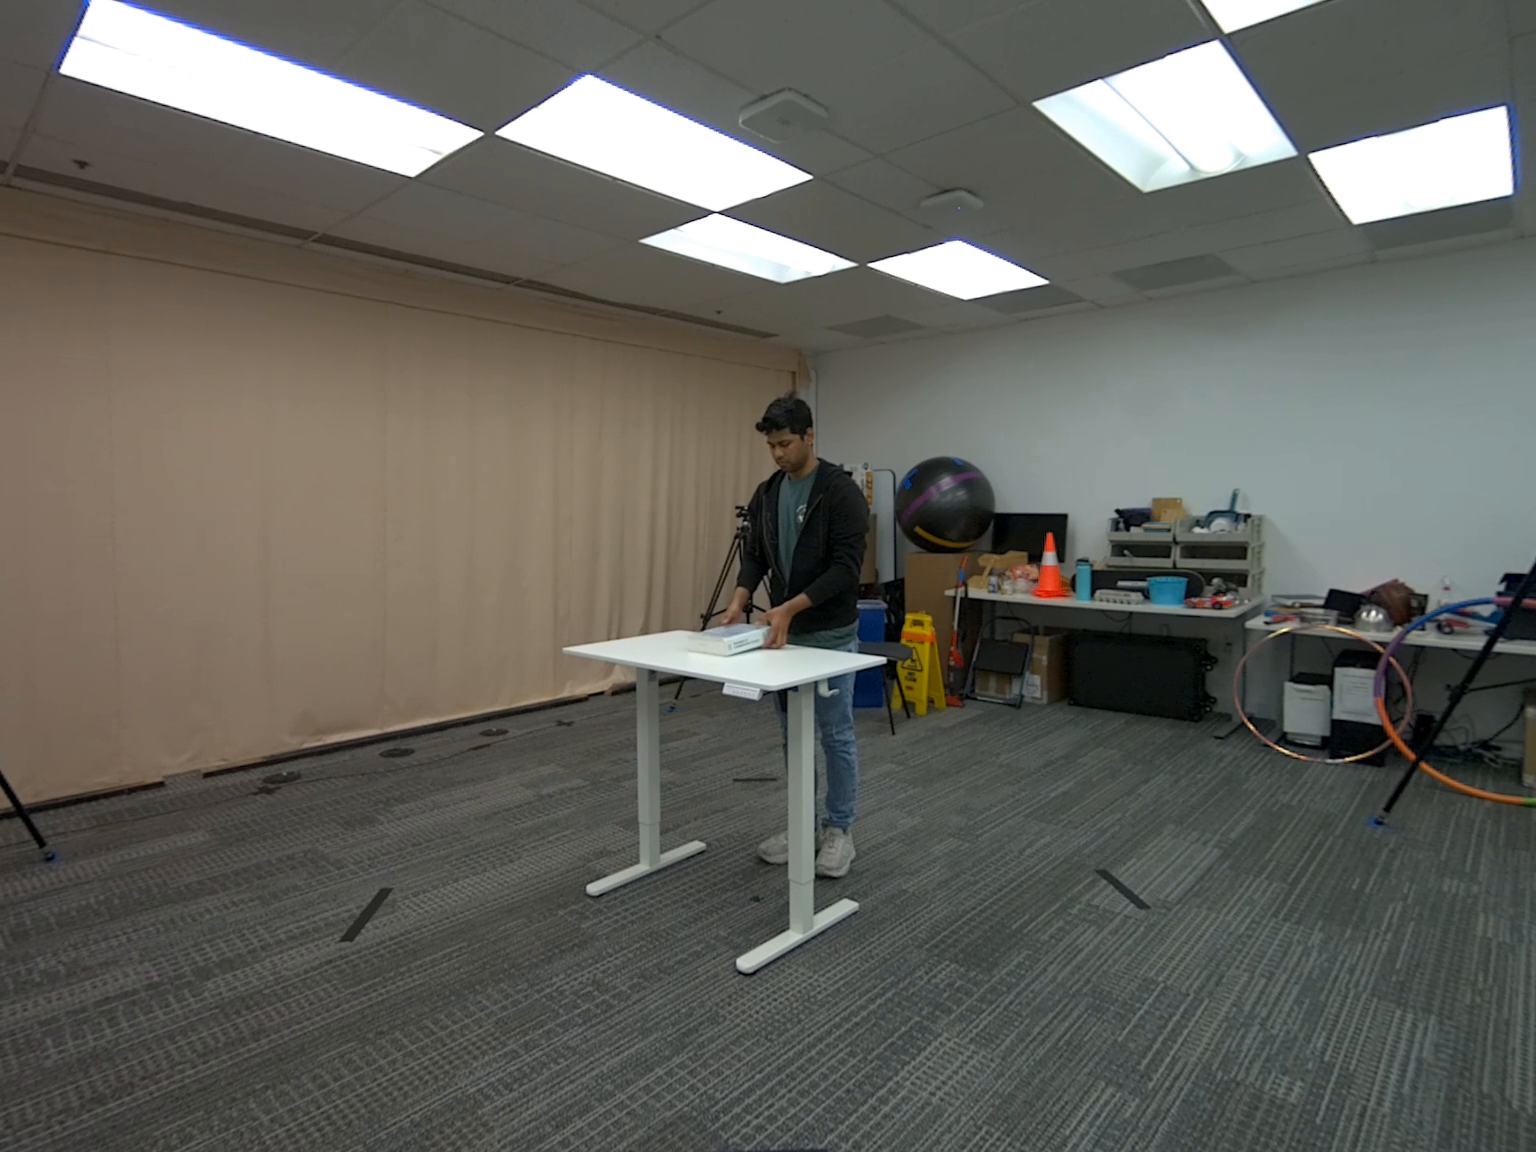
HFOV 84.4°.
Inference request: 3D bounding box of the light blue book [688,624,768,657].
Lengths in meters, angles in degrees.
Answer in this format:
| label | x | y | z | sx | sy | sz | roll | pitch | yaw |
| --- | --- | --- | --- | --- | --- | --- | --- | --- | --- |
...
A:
| label | x | y | z | sx | sy | sz | roll | pitch | yaw |
| --- | --- | --- | --- | --- | --- | --- | --- | --- | --- |
| light blue book | -0.148 | 0.228 | 3.006 | 0.197 | 0.059 | 0.253 | 2 | 8 | 40 |
